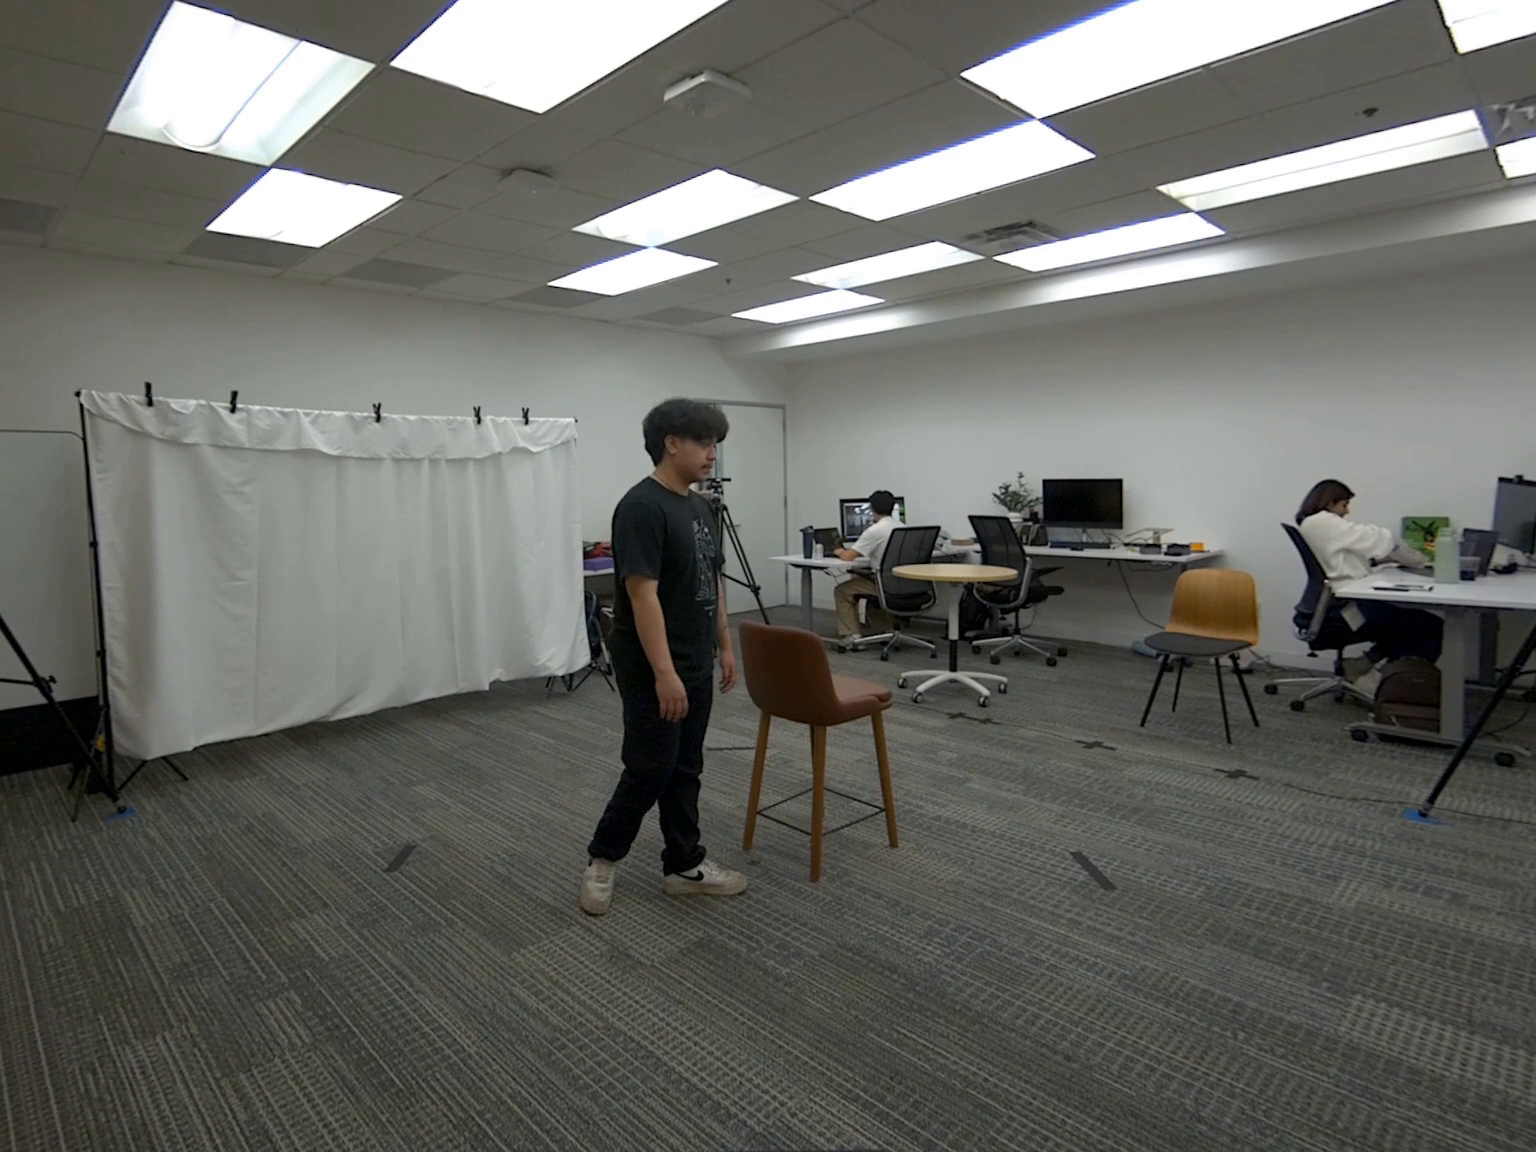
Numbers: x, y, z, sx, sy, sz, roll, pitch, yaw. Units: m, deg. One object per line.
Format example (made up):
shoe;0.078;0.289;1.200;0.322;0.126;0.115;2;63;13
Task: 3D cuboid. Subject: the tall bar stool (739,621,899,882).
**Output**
tall bar stool;0.179;0.592;3.202;0.456;0.886;0.470;-7;7;-42
